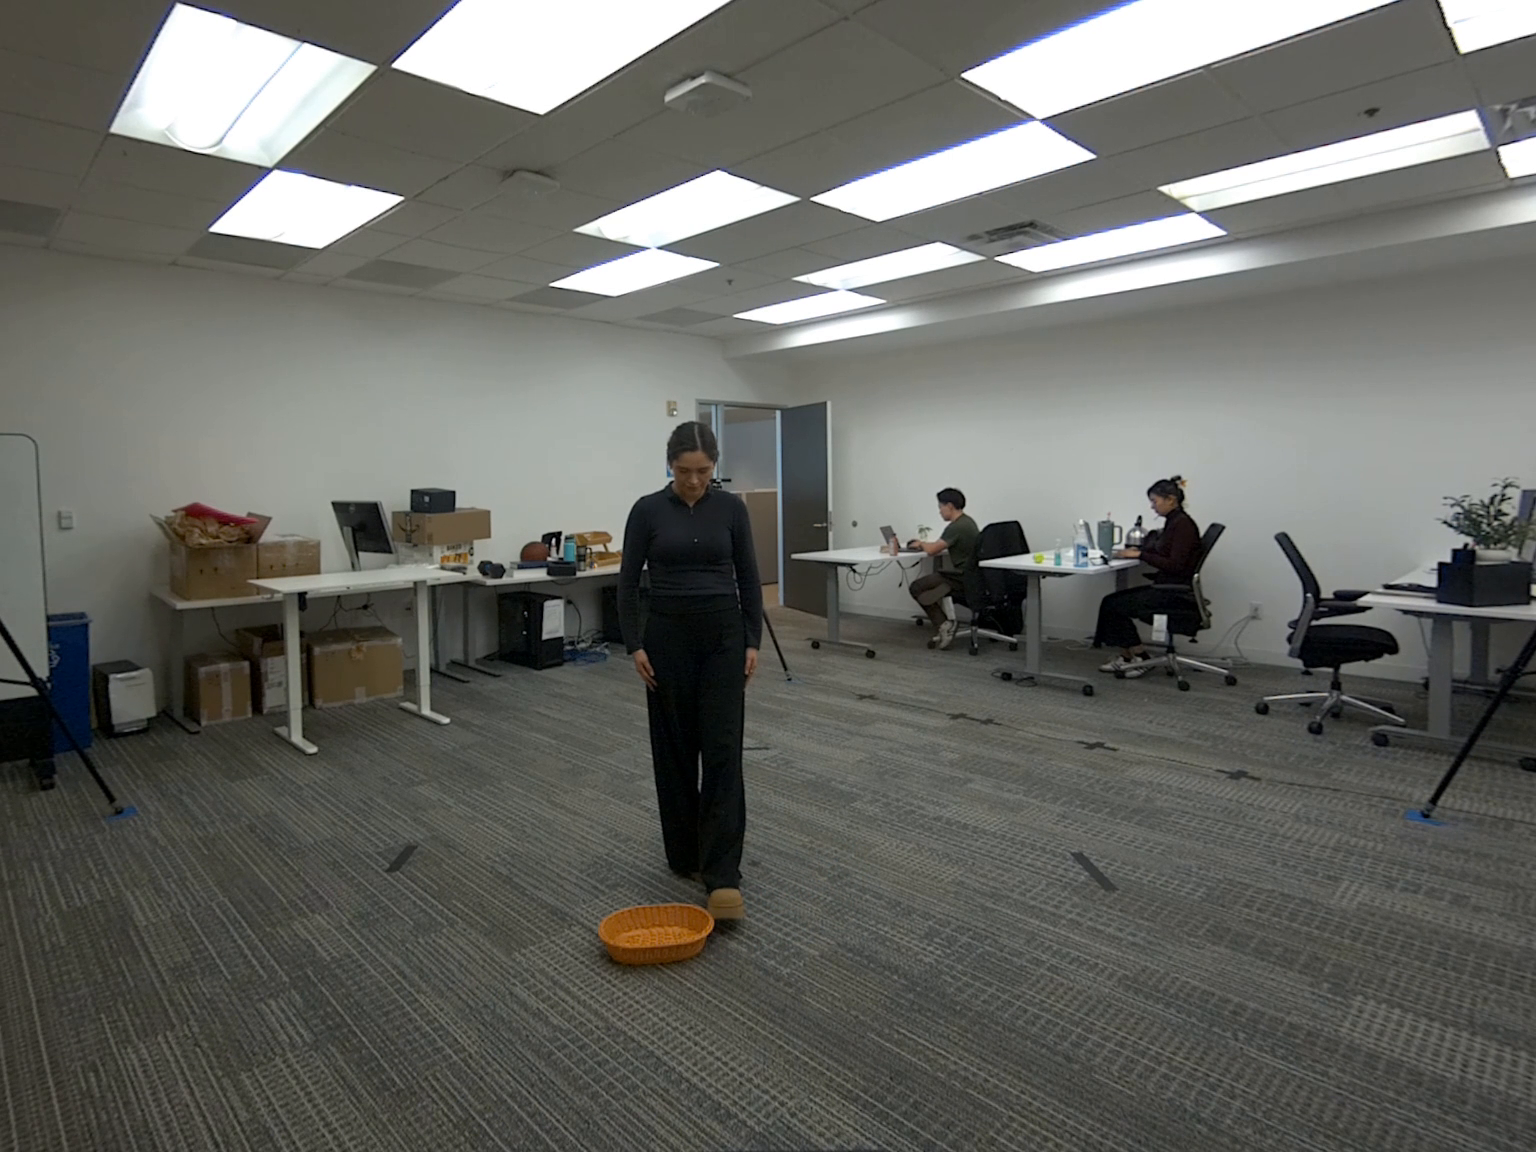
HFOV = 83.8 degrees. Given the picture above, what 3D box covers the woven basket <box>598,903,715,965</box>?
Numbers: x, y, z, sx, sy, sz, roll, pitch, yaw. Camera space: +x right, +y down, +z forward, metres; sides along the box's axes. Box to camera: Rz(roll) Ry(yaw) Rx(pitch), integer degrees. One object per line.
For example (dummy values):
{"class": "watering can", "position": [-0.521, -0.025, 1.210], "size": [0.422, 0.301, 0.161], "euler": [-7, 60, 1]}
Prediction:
{"class": "woven basket", "position": [-0.334, 1.078, 2.556], "size": [0.348, 0.073, 0.255], "euler": [-2, 5, -8]}
